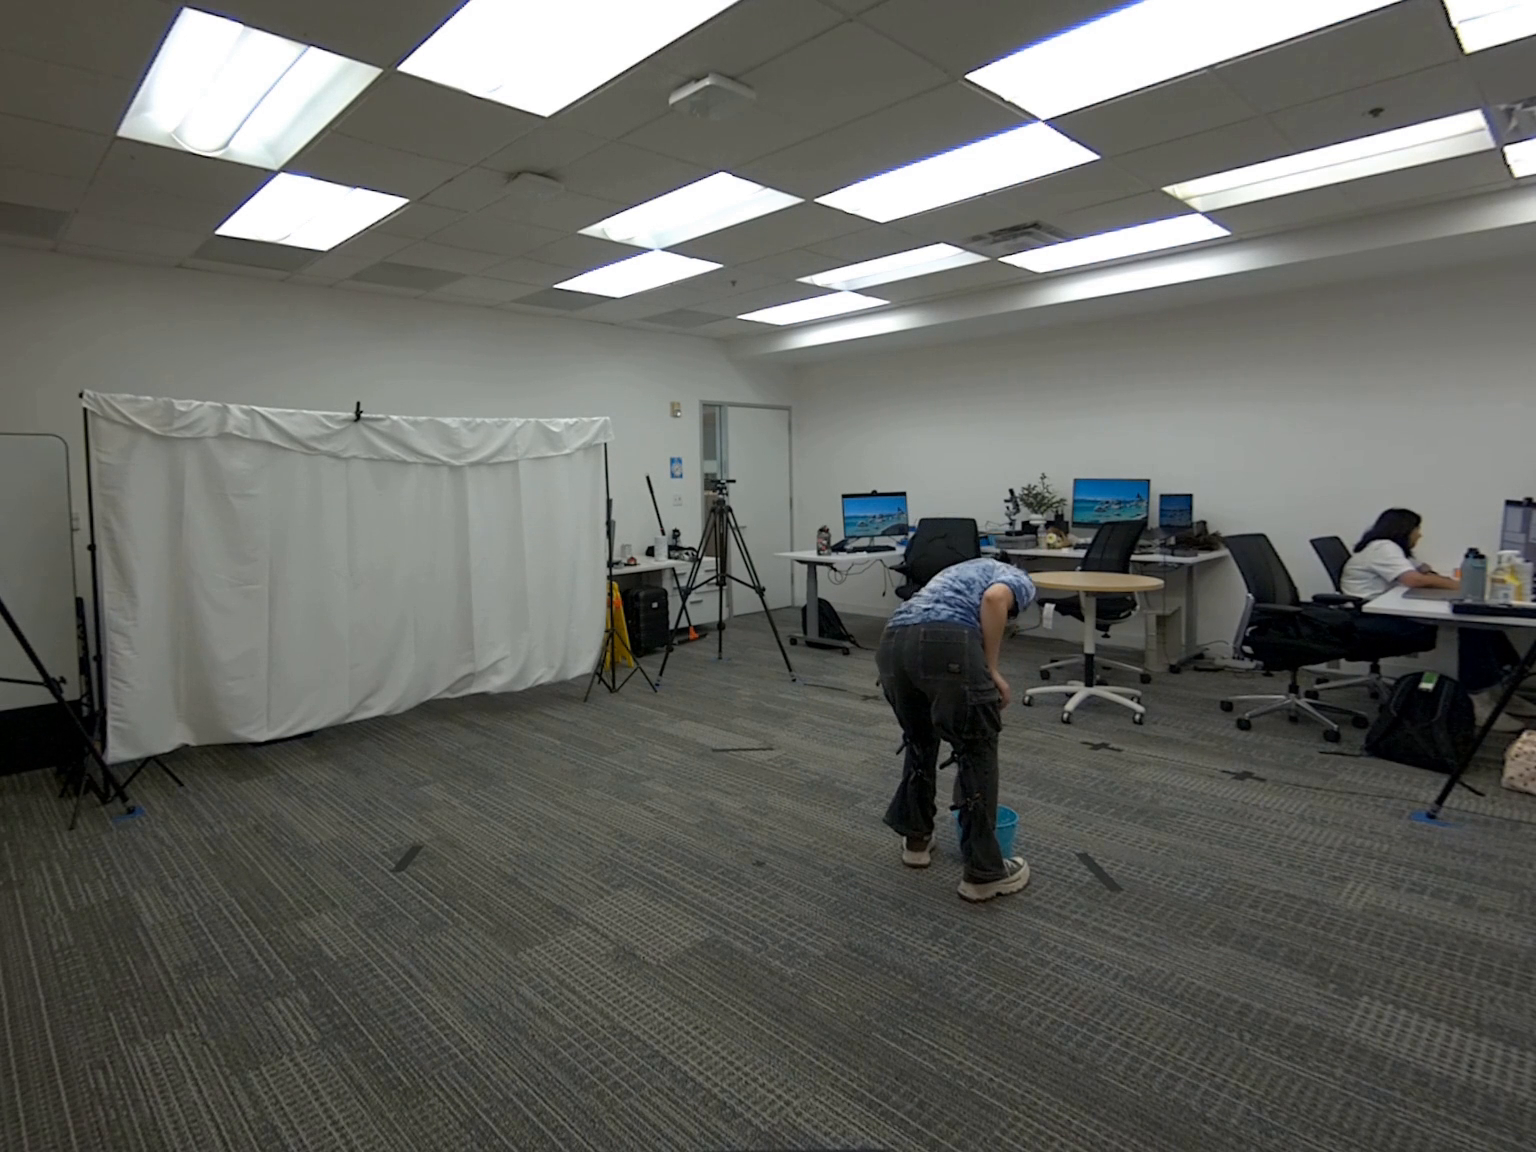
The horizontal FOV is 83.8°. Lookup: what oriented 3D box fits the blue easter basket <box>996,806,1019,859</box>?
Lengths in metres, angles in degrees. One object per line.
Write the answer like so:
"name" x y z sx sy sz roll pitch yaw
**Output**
"blue easter basket" 0.799 0.947 3.141 0.243 0.155 0.245 -1 4 -2
